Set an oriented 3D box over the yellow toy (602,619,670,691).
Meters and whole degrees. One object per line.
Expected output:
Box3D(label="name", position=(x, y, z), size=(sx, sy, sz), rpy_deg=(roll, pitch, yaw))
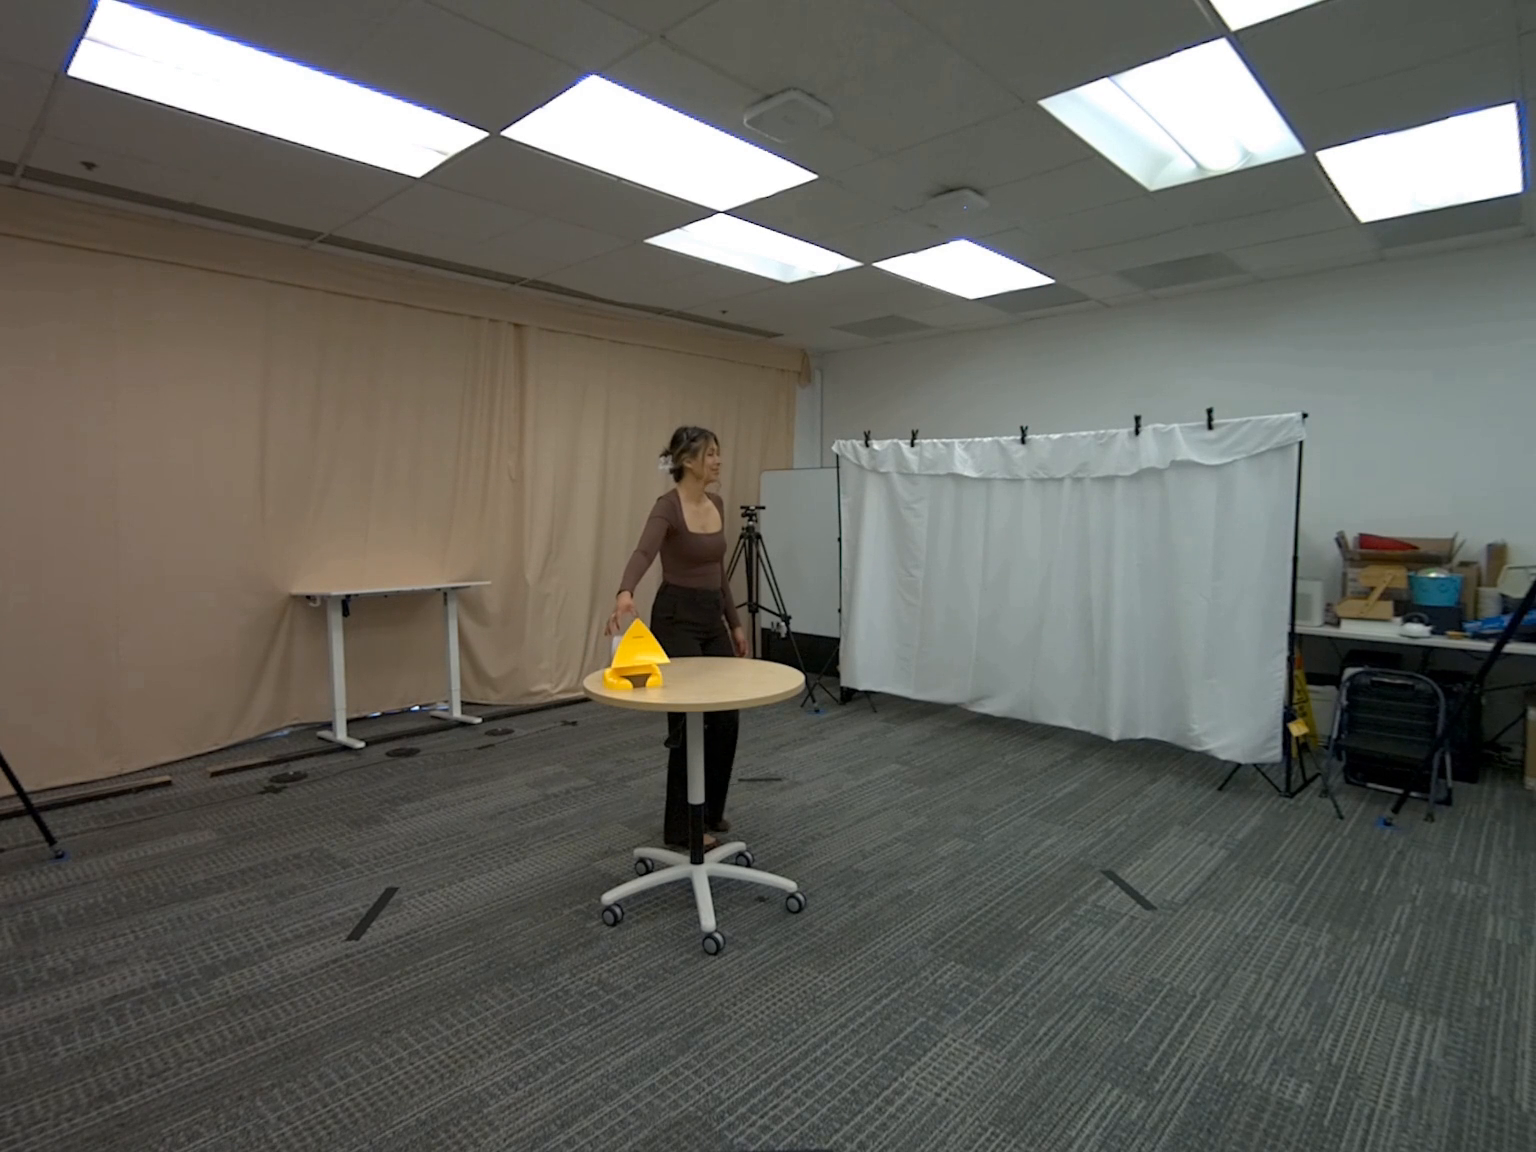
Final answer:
Box3D(label="yellow toy", position=(-0.456, 0.251, 2.837), size=(0.200, 0.230, 0.198), rpy_deg=(-3, 4, -26))
